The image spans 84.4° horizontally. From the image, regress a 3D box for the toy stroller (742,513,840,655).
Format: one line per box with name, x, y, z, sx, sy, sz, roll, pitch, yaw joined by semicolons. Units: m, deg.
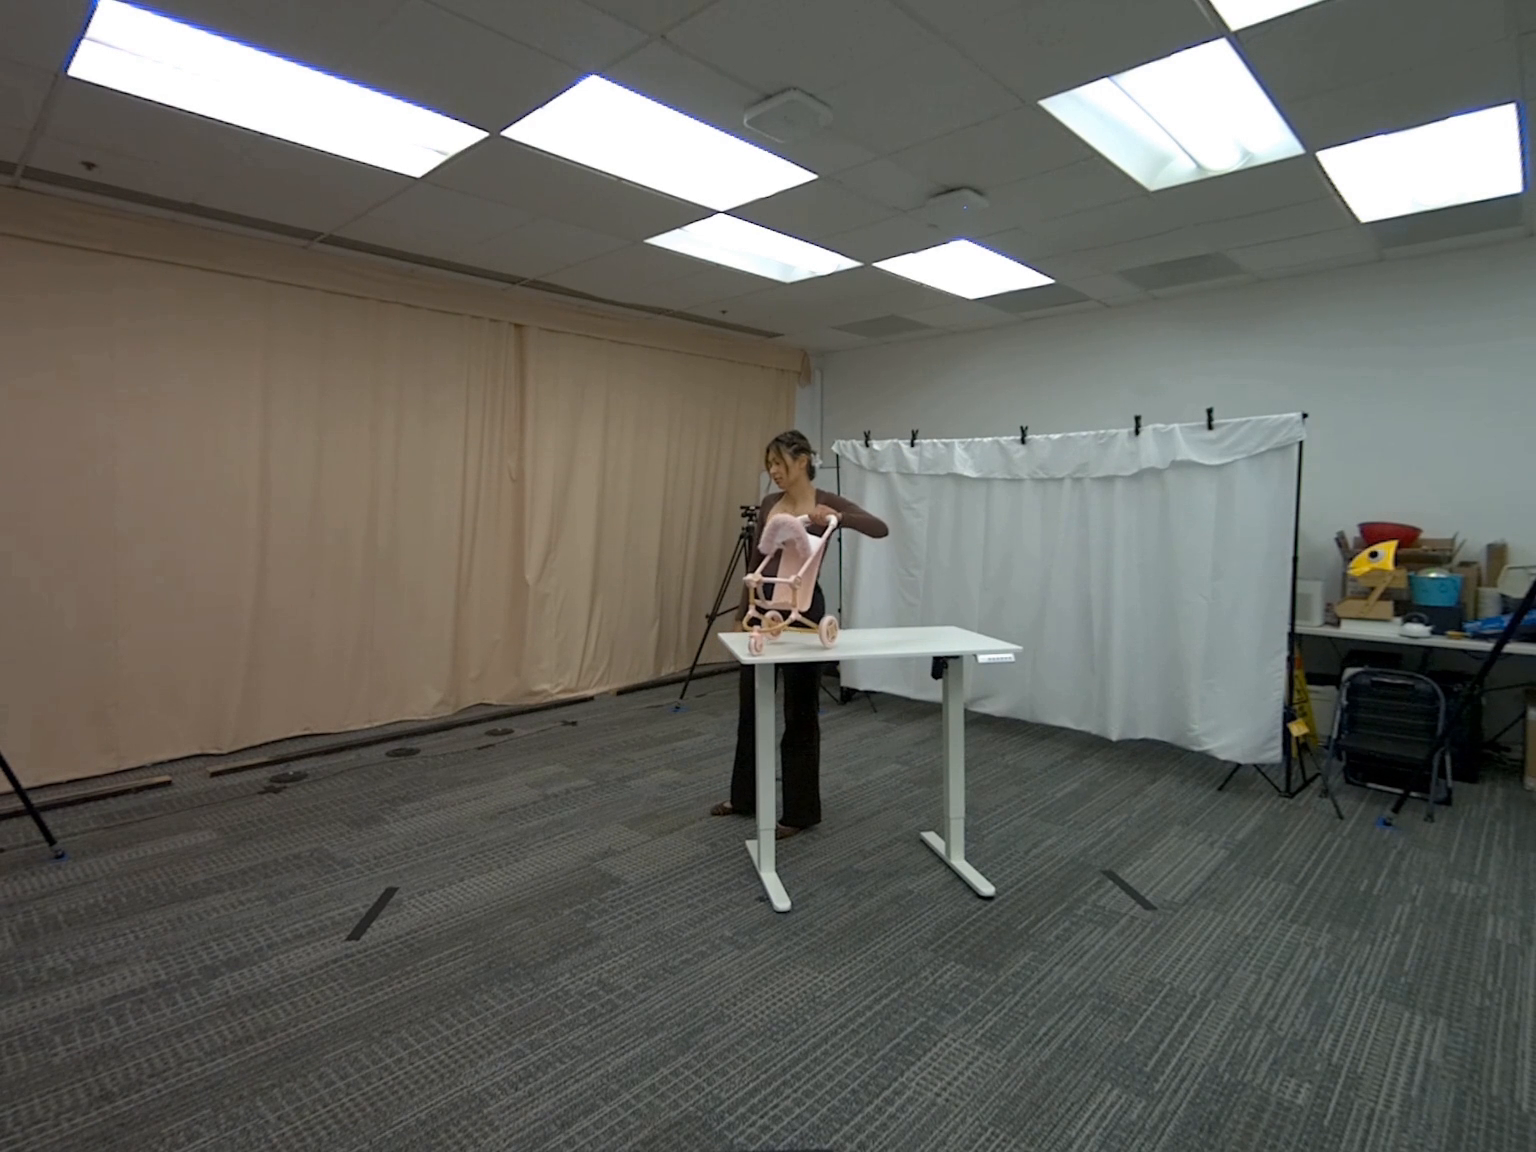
toy stroller;0.062;0.020;2.996;0.291;0.536;0.329;2;-6;44
